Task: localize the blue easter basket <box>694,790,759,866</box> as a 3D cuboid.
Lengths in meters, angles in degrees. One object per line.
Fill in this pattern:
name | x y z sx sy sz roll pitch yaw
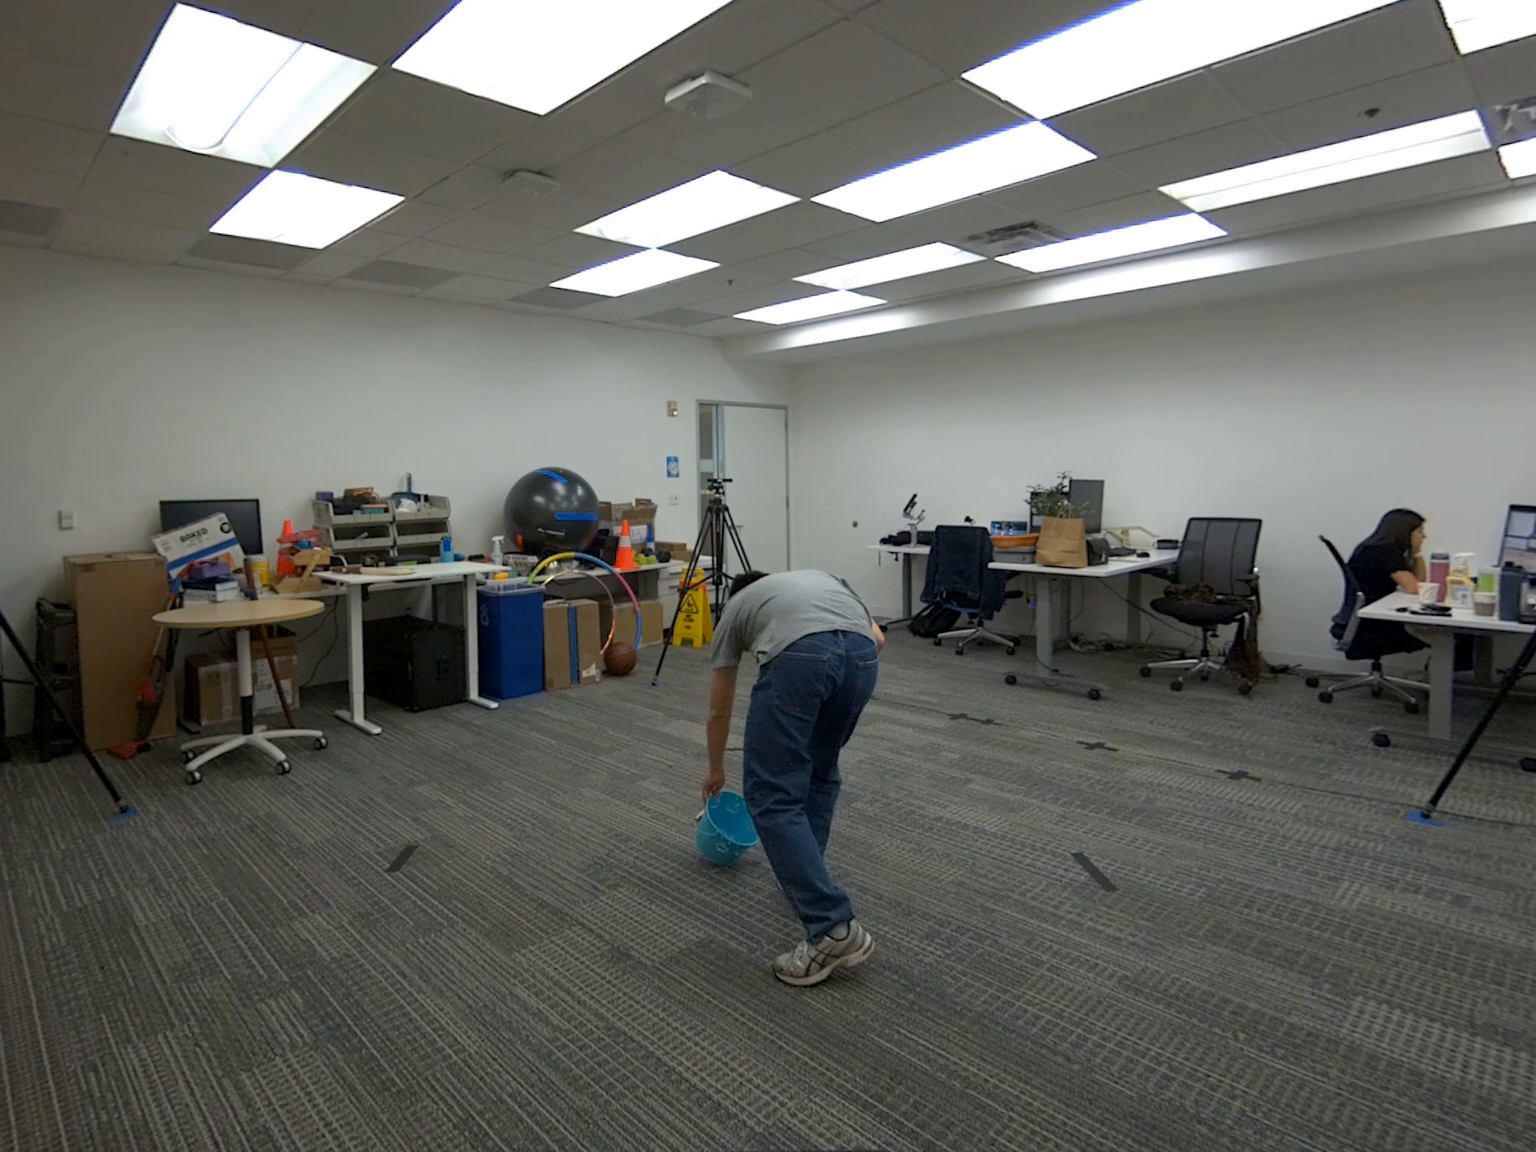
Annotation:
blue easter basket | -0.146 0.927 3.122 0.239 0.155 0.250 22 31 -16
